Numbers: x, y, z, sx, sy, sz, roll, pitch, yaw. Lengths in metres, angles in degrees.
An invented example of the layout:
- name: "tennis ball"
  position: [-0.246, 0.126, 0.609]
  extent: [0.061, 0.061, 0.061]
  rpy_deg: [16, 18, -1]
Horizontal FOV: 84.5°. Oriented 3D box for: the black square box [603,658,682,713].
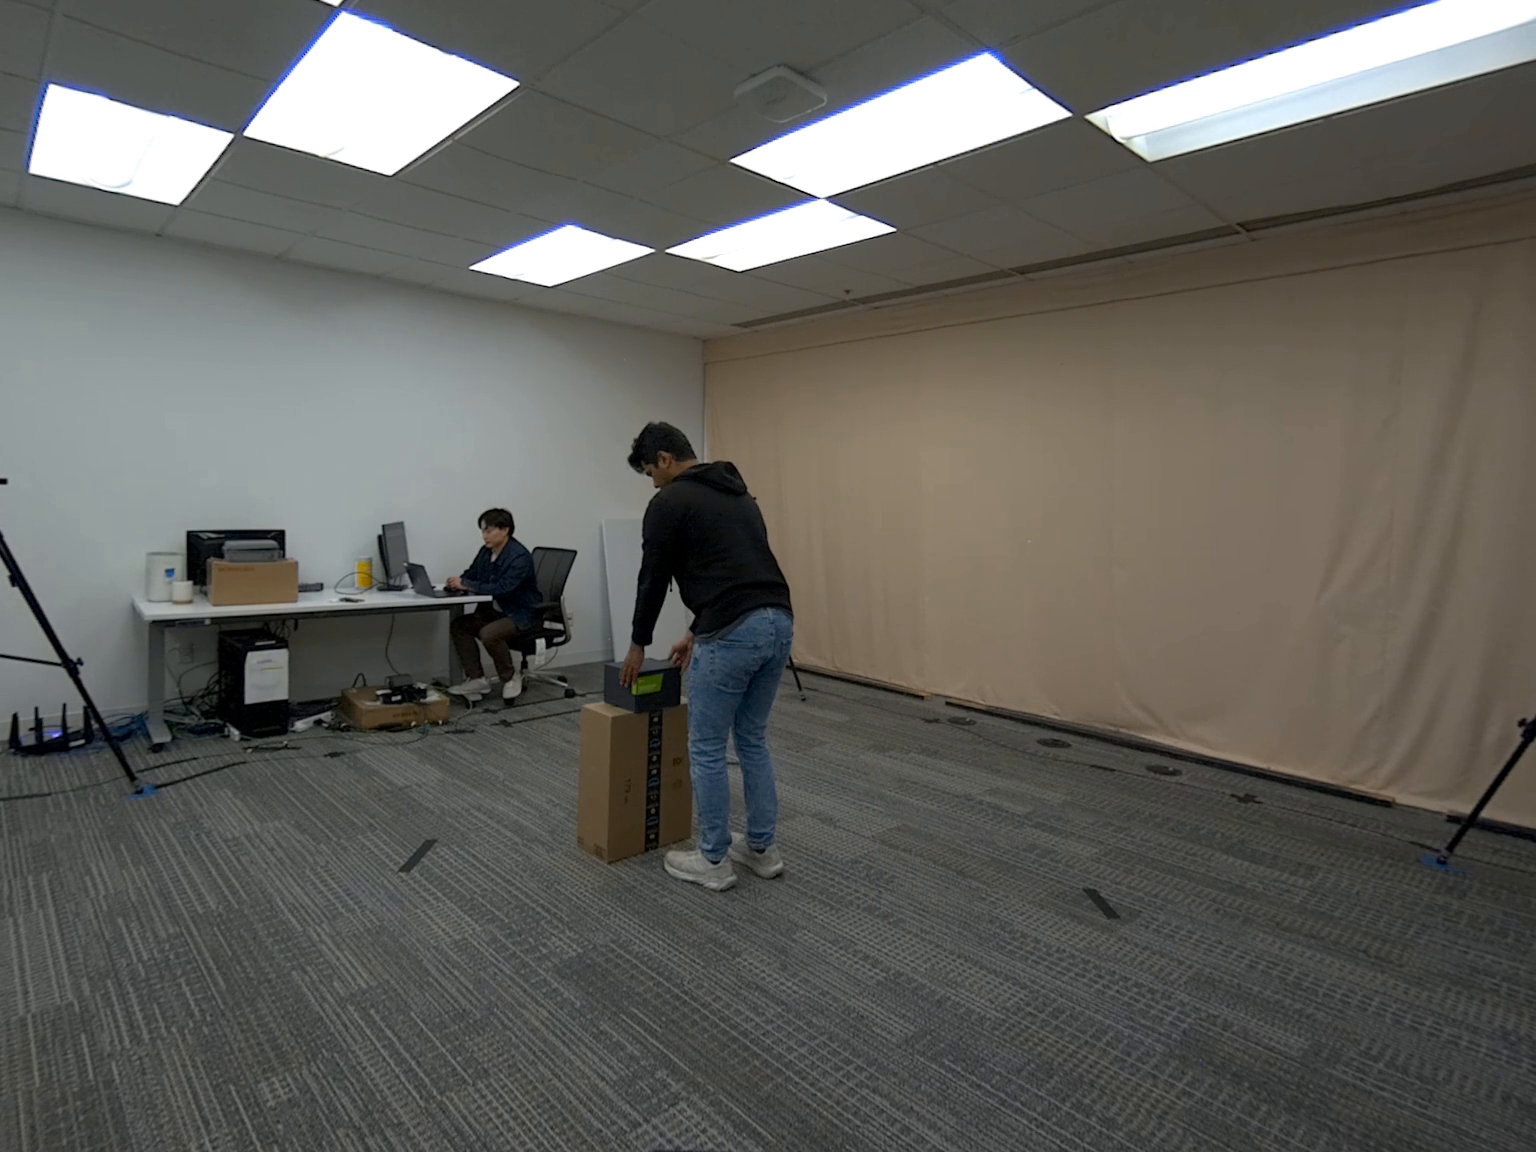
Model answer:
- name: "black square box"
  position: [-0.510, 0.423, 3.352]
  extent: [0.223, 0.155, 0.223]
  rpy_deg: [7, 7, 43]
